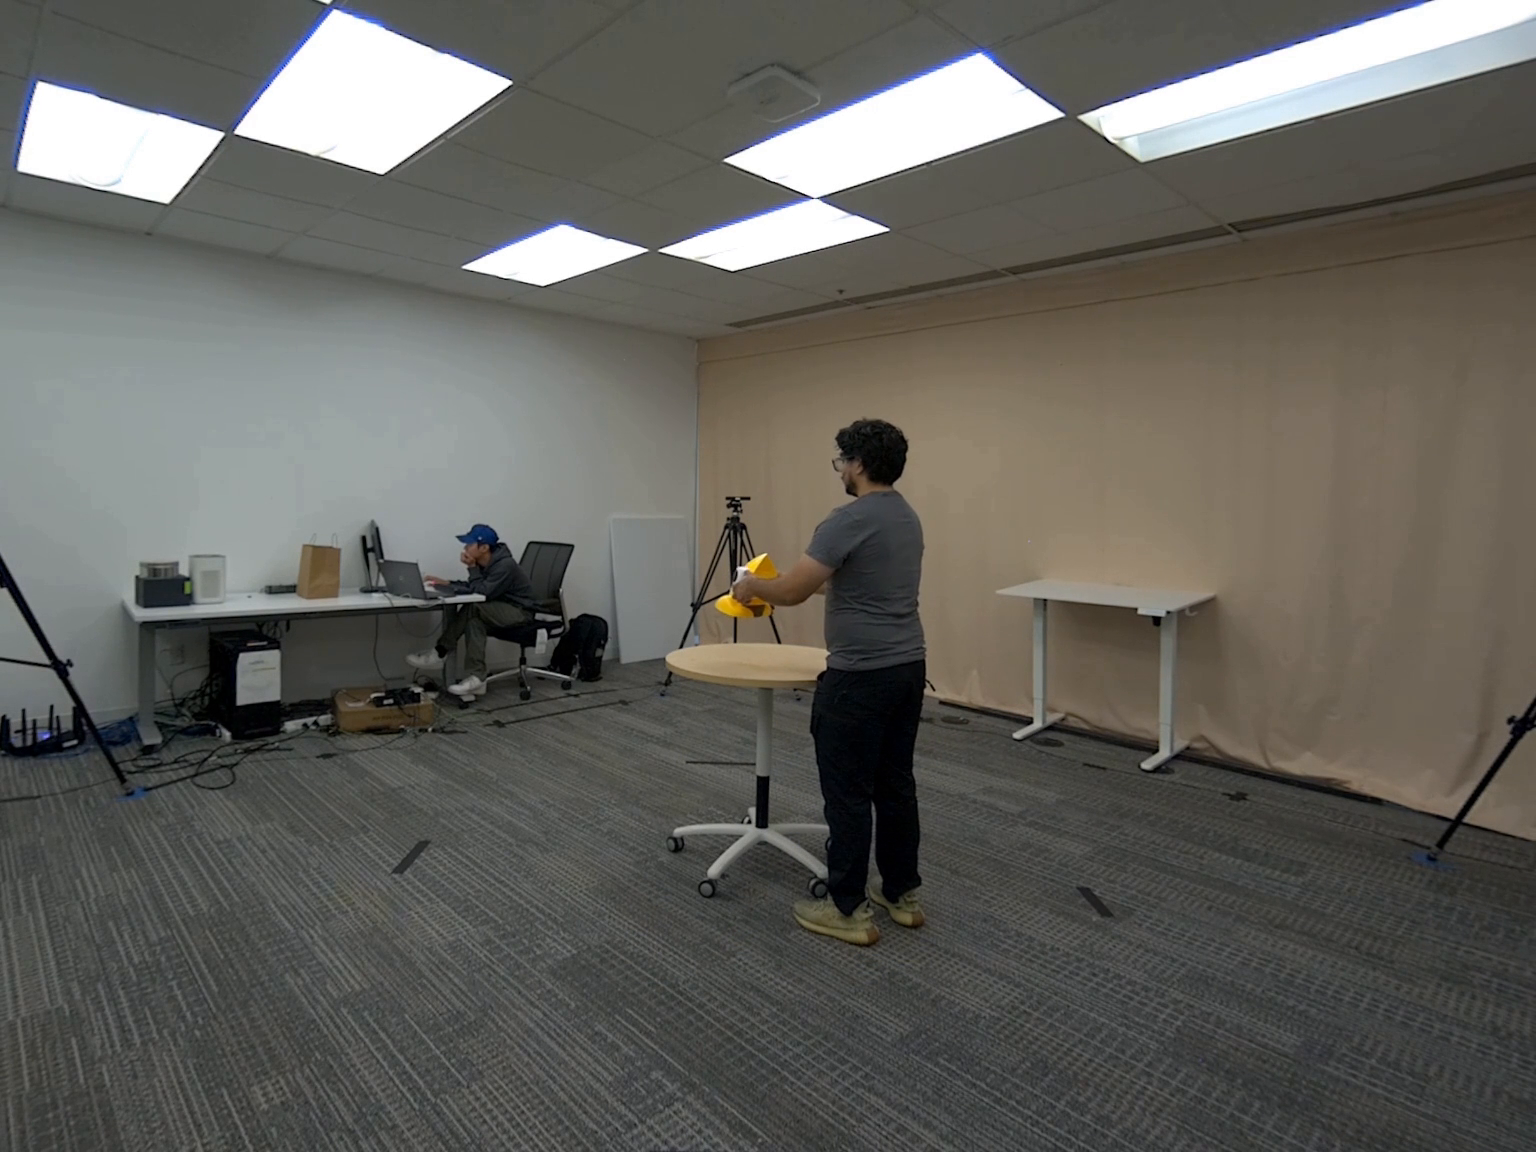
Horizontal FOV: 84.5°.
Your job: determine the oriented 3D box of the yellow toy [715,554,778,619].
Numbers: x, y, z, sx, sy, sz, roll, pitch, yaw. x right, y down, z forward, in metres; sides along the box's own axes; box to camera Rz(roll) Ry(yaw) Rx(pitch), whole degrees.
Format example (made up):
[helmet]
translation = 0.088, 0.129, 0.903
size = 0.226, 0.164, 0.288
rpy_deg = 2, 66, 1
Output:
[yellow toy]
translation = -0.074, 0.019, 3.018
size = 0.200, 0.229, 0.199
rpy_deg = -2, 16, -43
